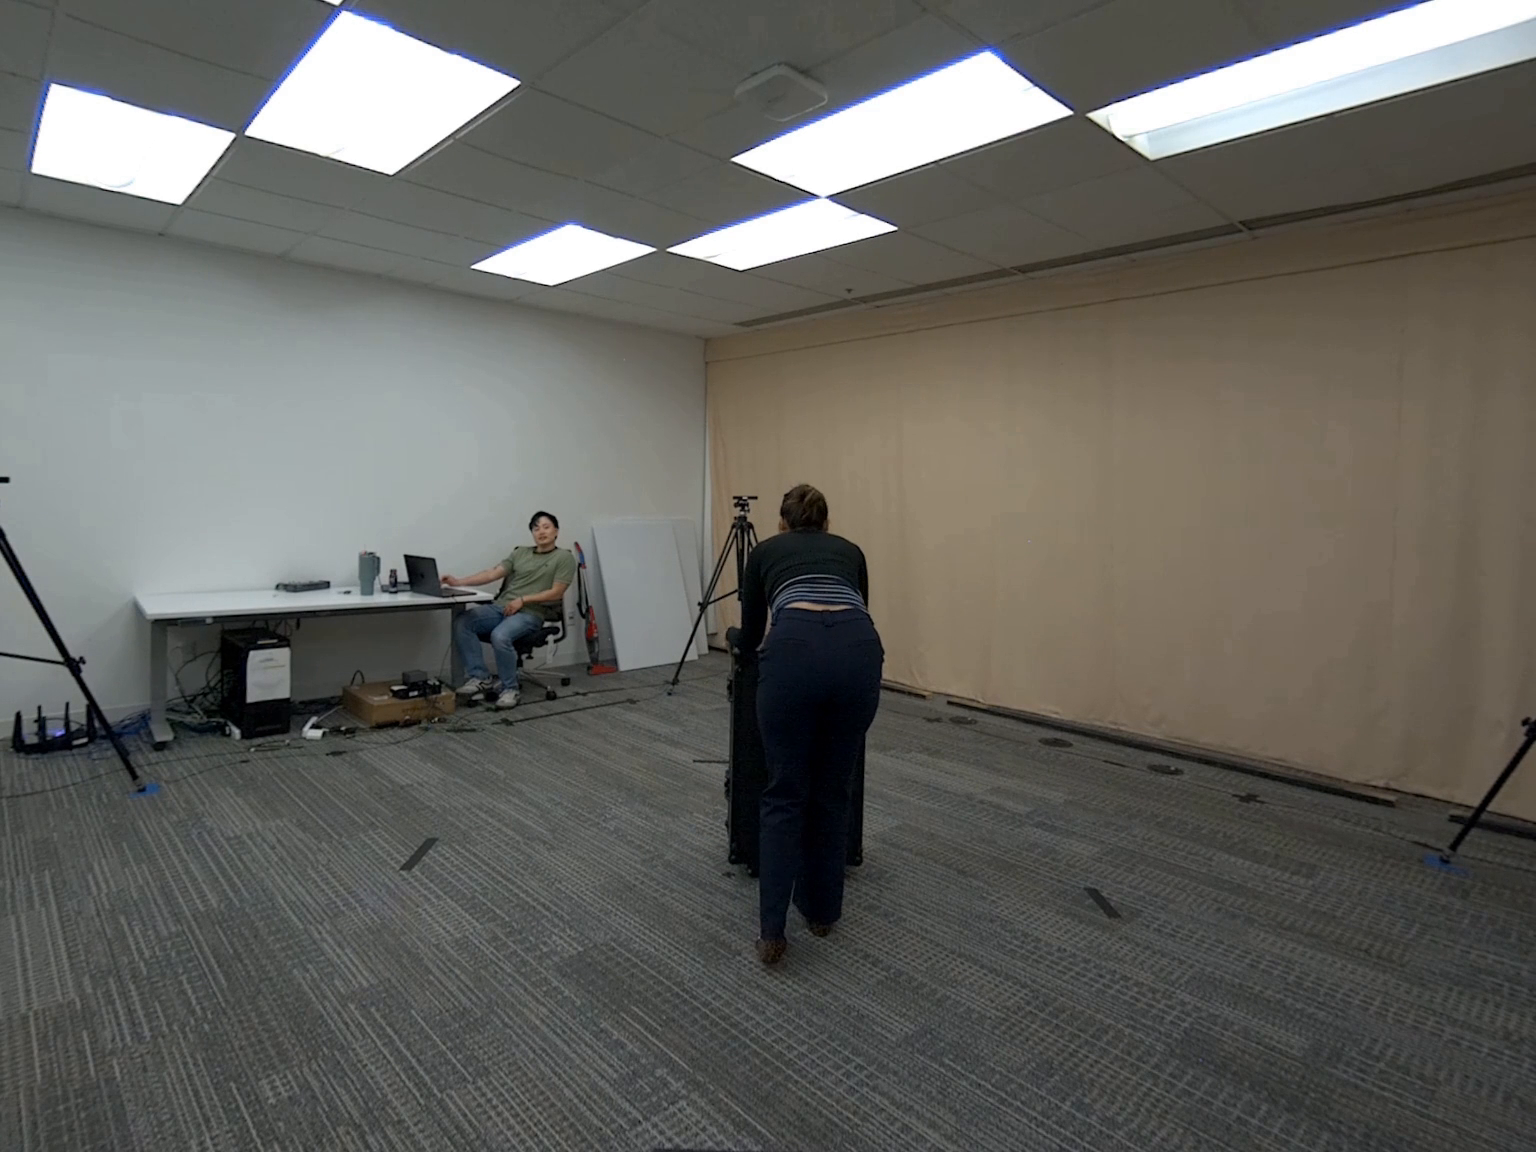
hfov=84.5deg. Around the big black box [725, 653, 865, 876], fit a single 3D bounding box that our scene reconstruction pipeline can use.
[{"bbox_3d":[0.098,0.677,3.176,0.520,0.858,0.398,2,5,-3],"label":"big black box"}]
